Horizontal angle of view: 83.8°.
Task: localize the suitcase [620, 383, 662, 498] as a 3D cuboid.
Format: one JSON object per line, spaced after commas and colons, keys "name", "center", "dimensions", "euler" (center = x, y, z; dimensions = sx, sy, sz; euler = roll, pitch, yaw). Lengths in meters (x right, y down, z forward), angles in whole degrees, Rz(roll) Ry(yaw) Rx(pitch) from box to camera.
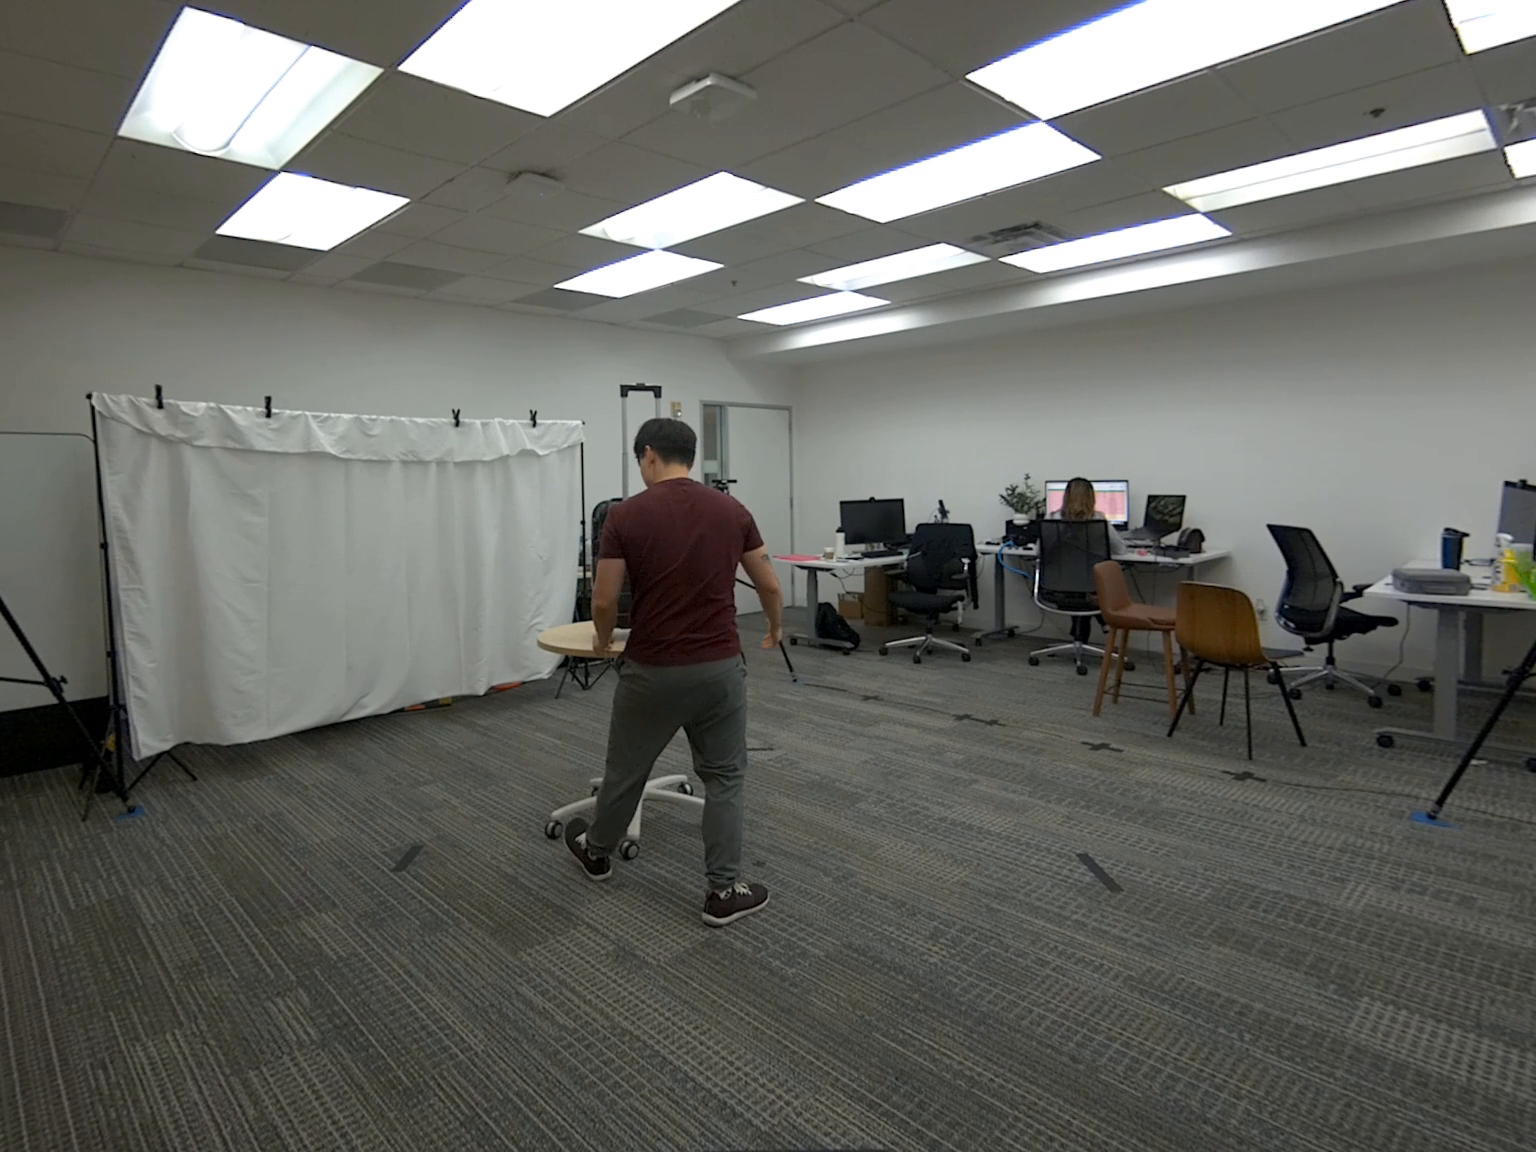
{"name": "suitcase", "center": [-0.513, -0.241, 3.379], "dimensions": [0.380, 0.977, 0.260], "euler": [0, 1, -10]}
